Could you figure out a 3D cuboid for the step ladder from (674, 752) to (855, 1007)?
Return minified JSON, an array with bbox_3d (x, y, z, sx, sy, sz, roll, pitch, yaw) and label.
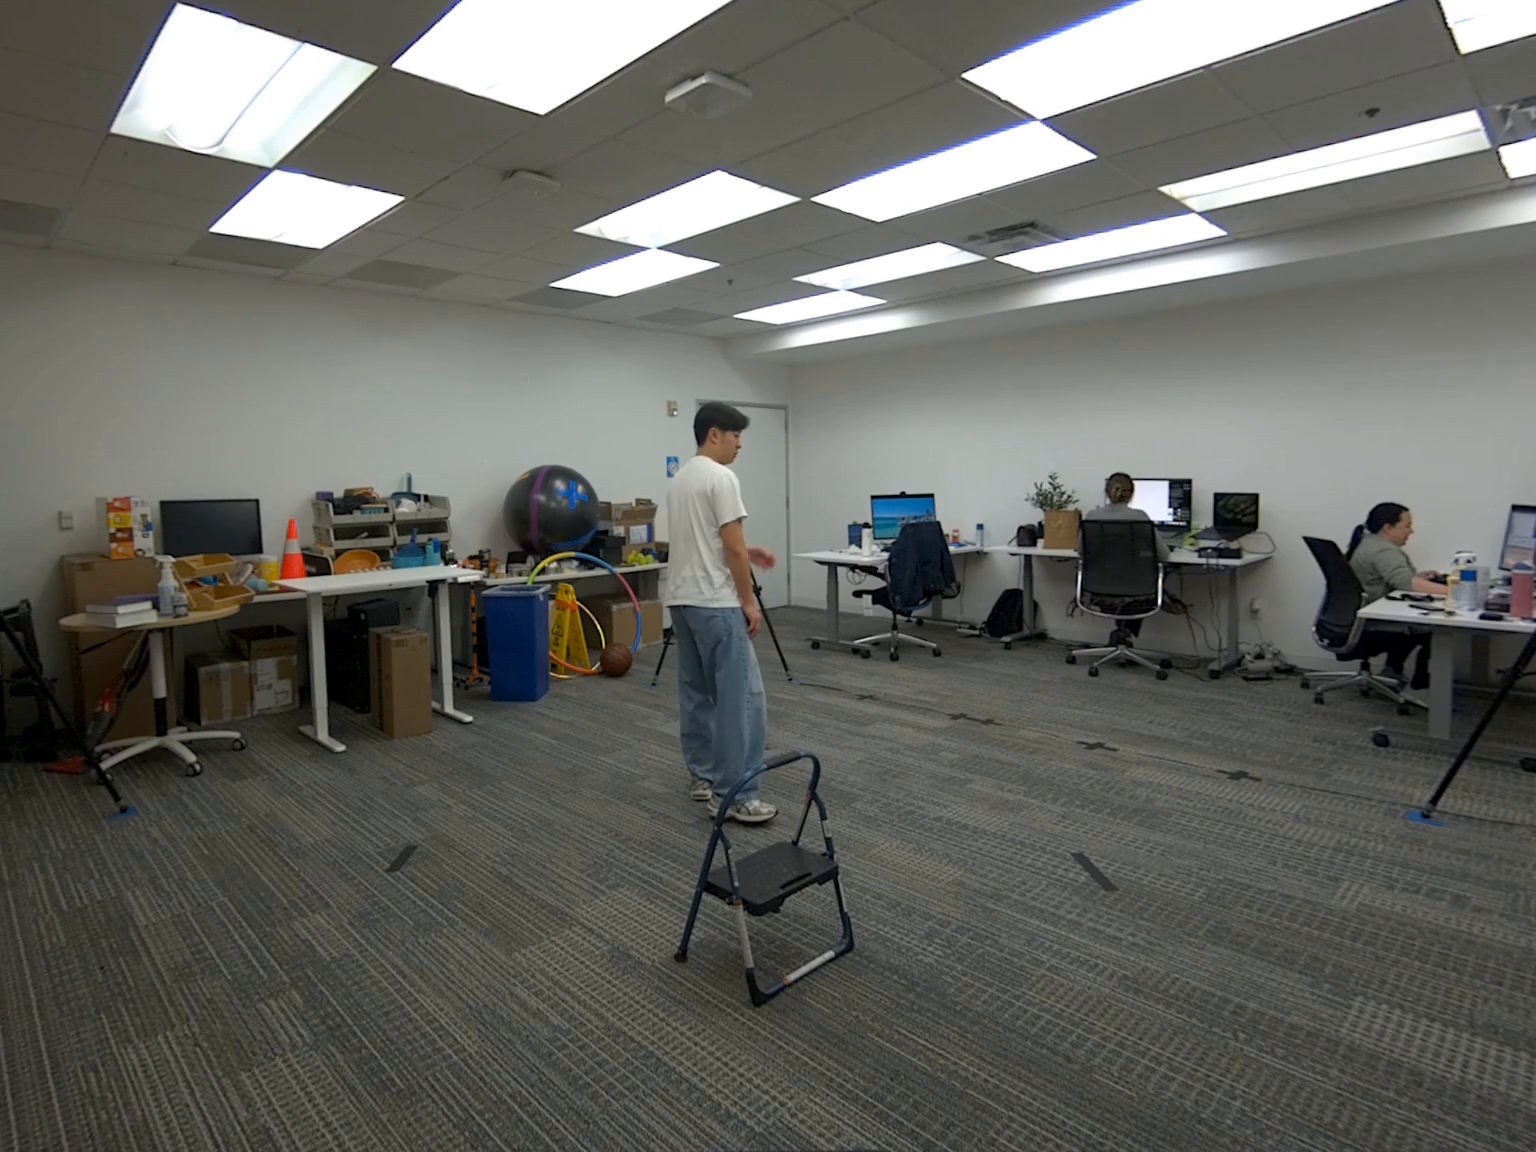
[{"bbox_3d":[-0.010,0.813,2.499,0.360,0.603,0.419,3,7,45],"label":"step ladder"}]
